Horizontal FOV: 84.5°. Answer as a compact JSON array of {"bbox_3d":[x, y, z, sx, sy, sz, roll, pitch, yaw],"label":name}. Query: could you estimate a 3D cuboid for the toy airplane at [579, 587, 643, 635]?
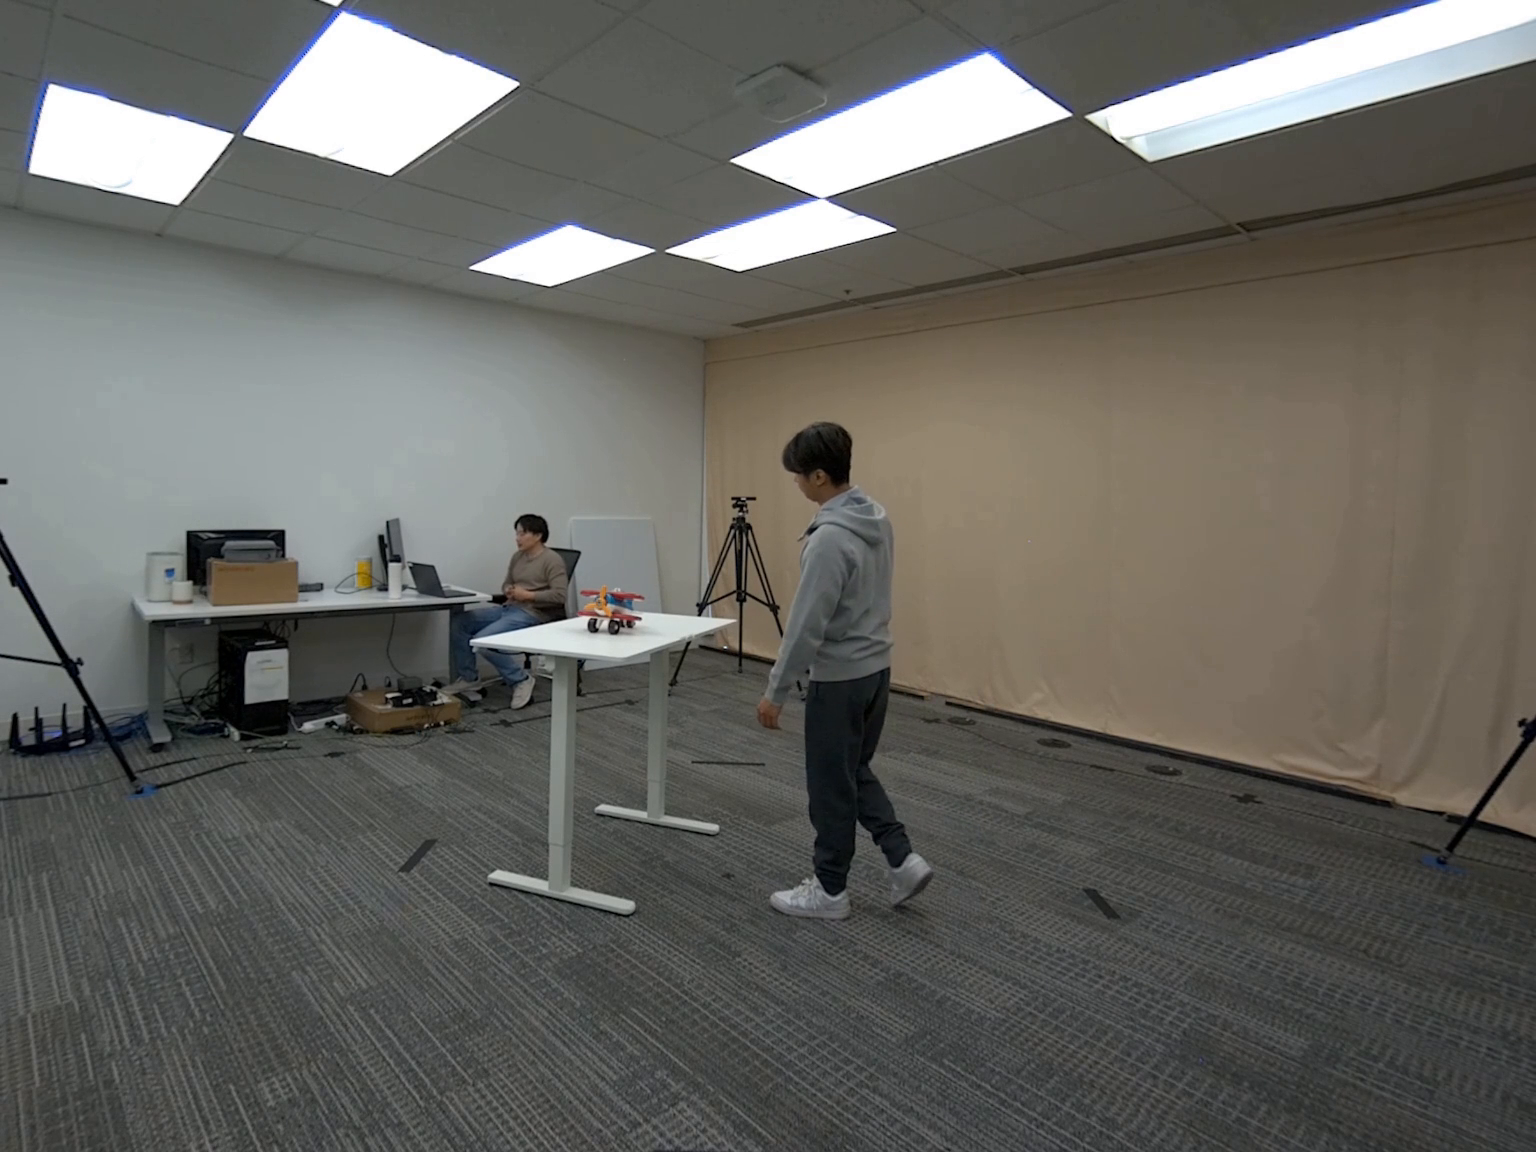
[{"bbox_3d":[-0.603,0.130,3.197,0.249,0.156,0.261,1,4,-9],"label":"toy airplane"}]
